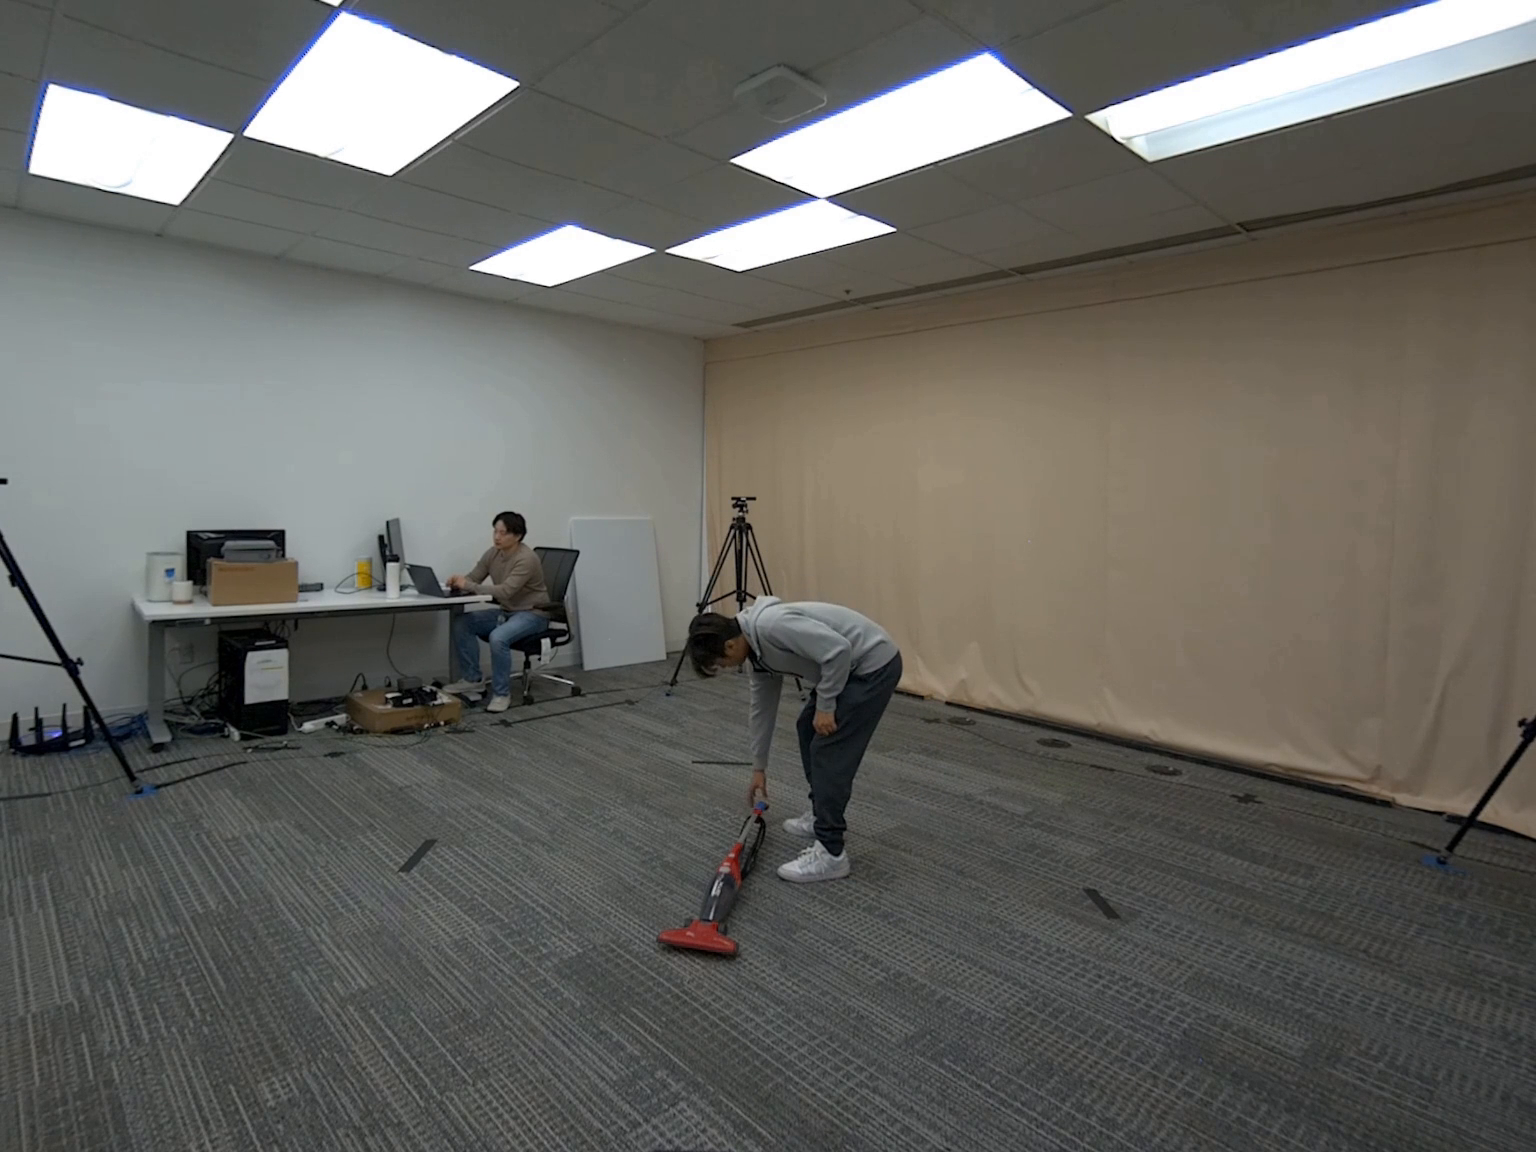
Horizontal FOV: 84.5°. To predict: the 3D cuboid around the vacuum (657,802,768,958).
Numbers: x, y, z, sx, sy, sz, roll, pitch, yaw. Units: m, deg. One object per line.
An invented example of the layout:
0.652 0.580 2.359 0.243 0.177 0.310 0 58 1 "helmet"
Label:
-0.117 1.039 3.136 0.254 0.143 1.046 -5 7 10 "vacuum"
